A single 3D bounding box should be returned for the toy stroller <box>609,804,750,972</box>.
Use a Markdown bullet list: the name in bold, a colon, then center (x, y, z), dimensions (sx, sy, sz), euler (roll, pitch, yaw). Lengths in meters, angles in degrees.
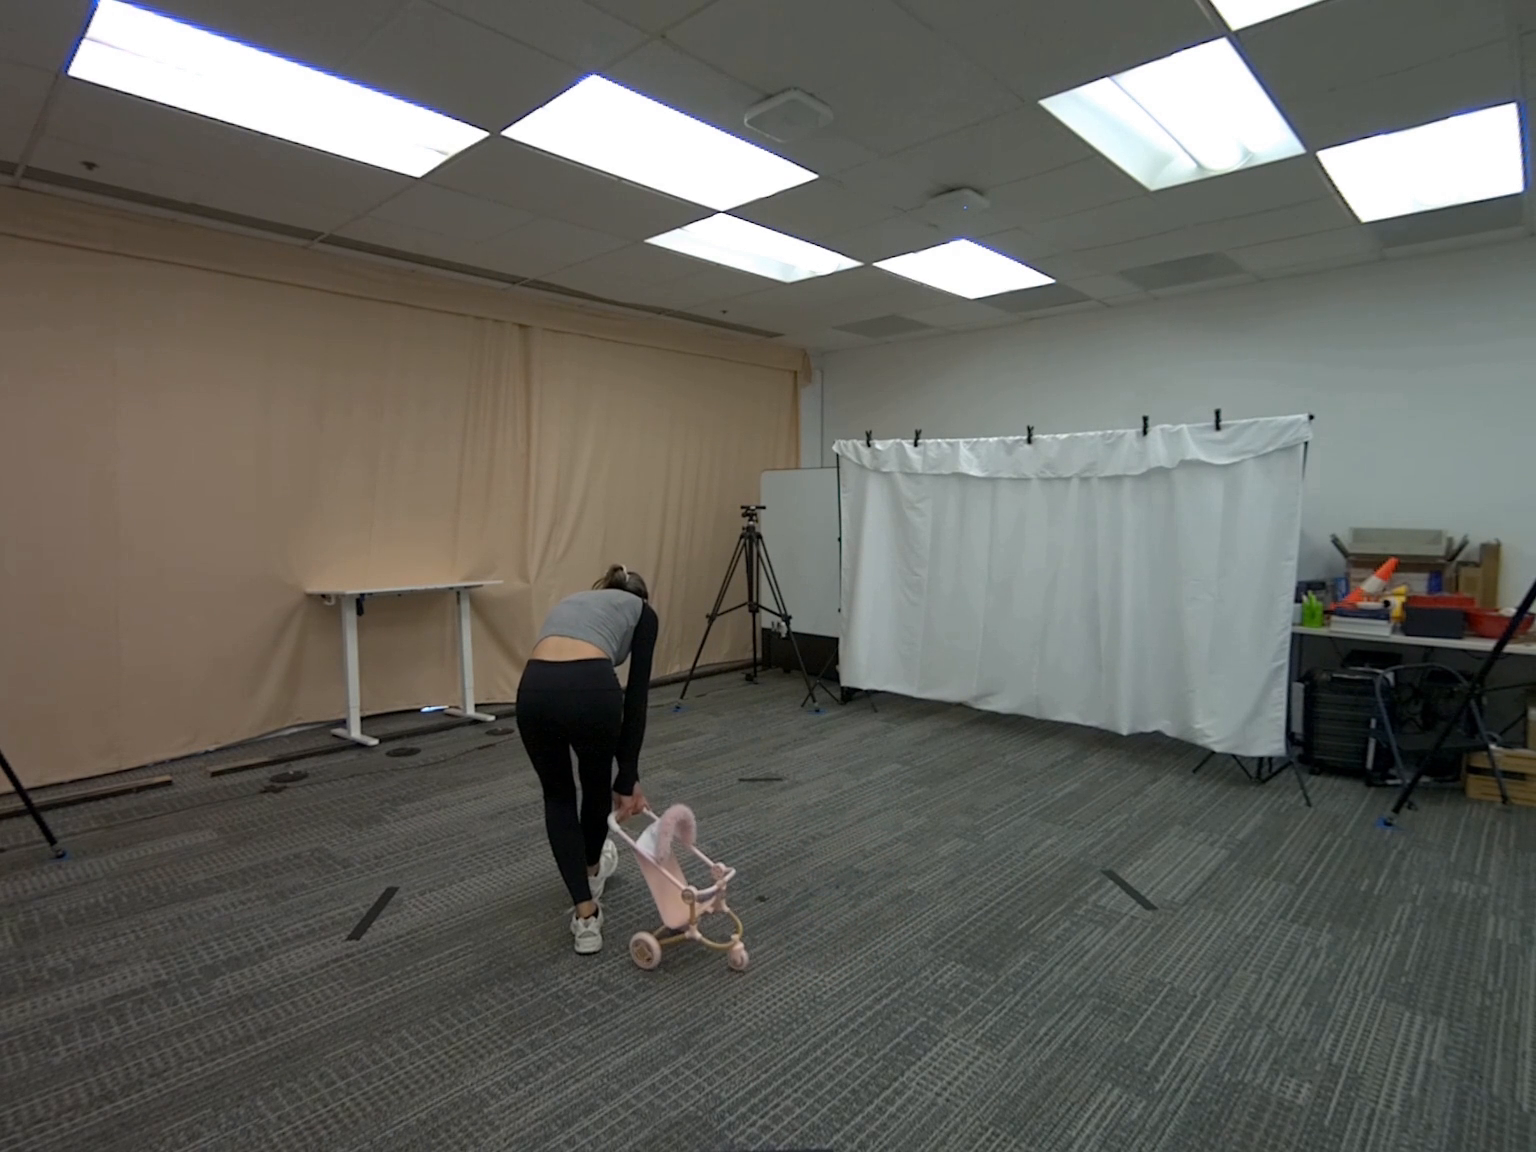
- **toy stroller**: center (-0.259, 0.953, 2.604), dimensions (0.349, 0.538, 0.274), euler (-18, -7, 30)
